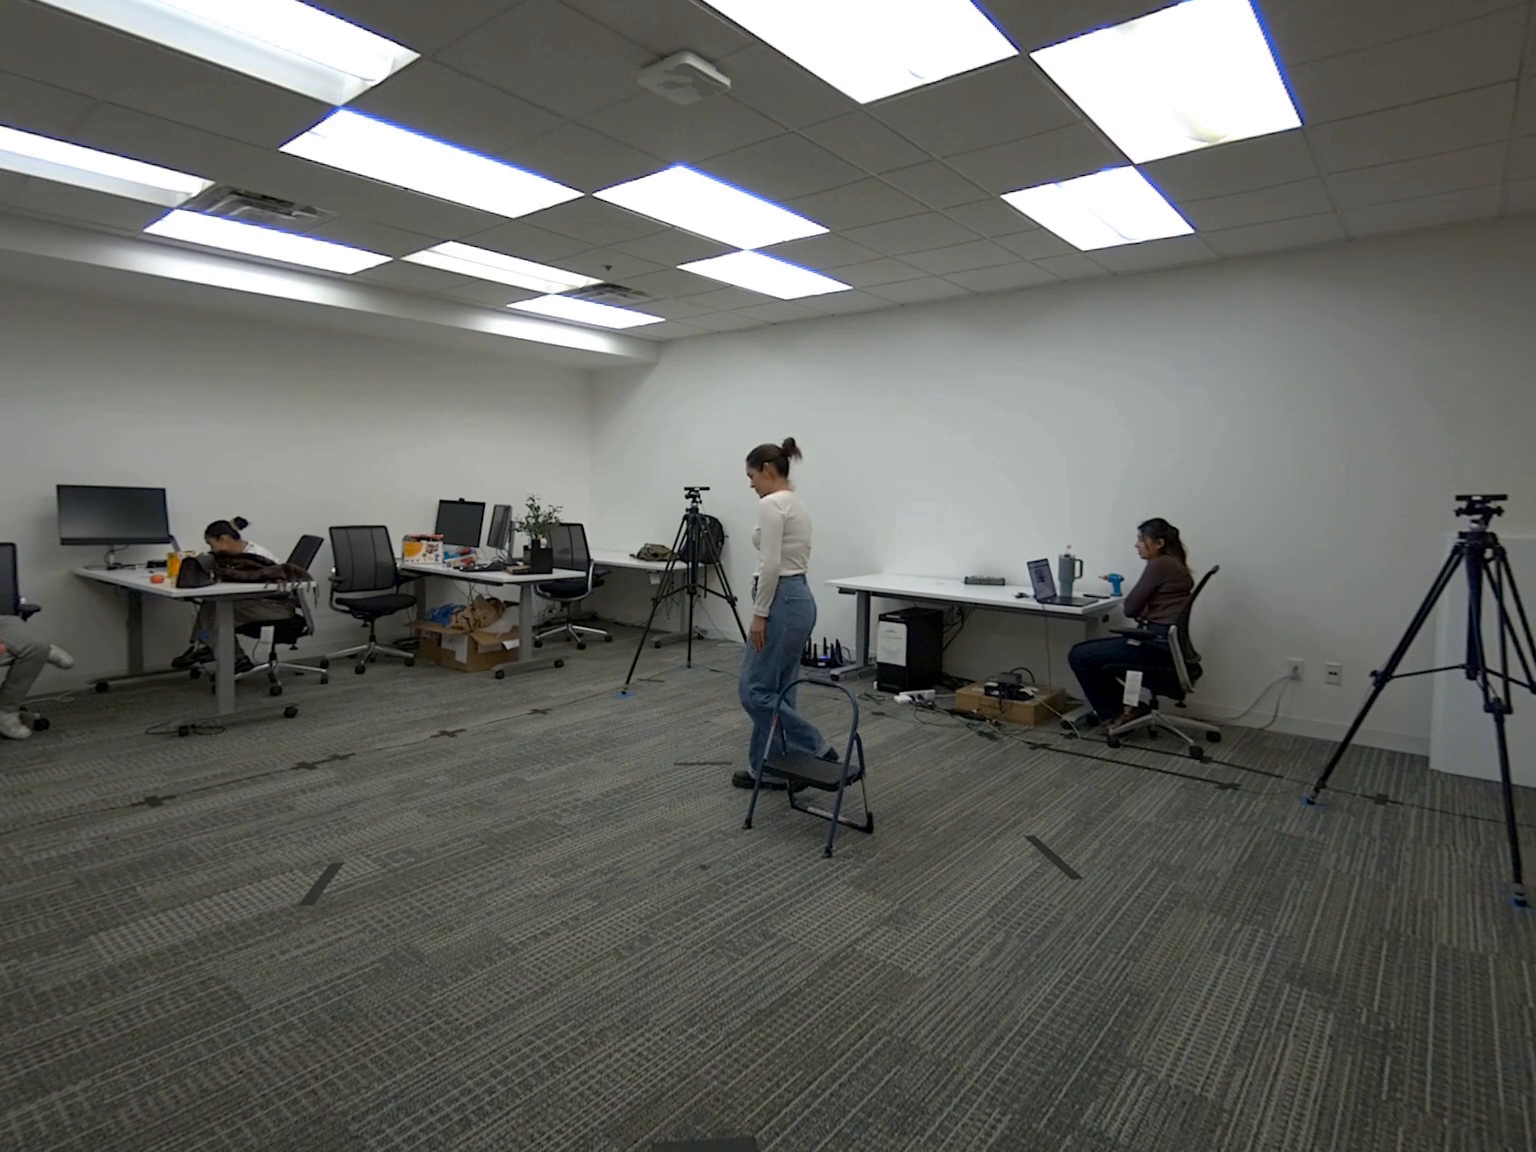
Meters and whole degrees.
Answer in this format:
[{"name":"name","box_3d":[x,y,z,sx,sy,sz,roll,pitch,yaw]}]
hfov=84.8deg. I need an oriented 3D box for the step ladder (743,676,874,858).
[{"name":"step ladder","box_3d":[0.166,0.732,3.463,0.445,0.604,0.339,4,5,39]}]
